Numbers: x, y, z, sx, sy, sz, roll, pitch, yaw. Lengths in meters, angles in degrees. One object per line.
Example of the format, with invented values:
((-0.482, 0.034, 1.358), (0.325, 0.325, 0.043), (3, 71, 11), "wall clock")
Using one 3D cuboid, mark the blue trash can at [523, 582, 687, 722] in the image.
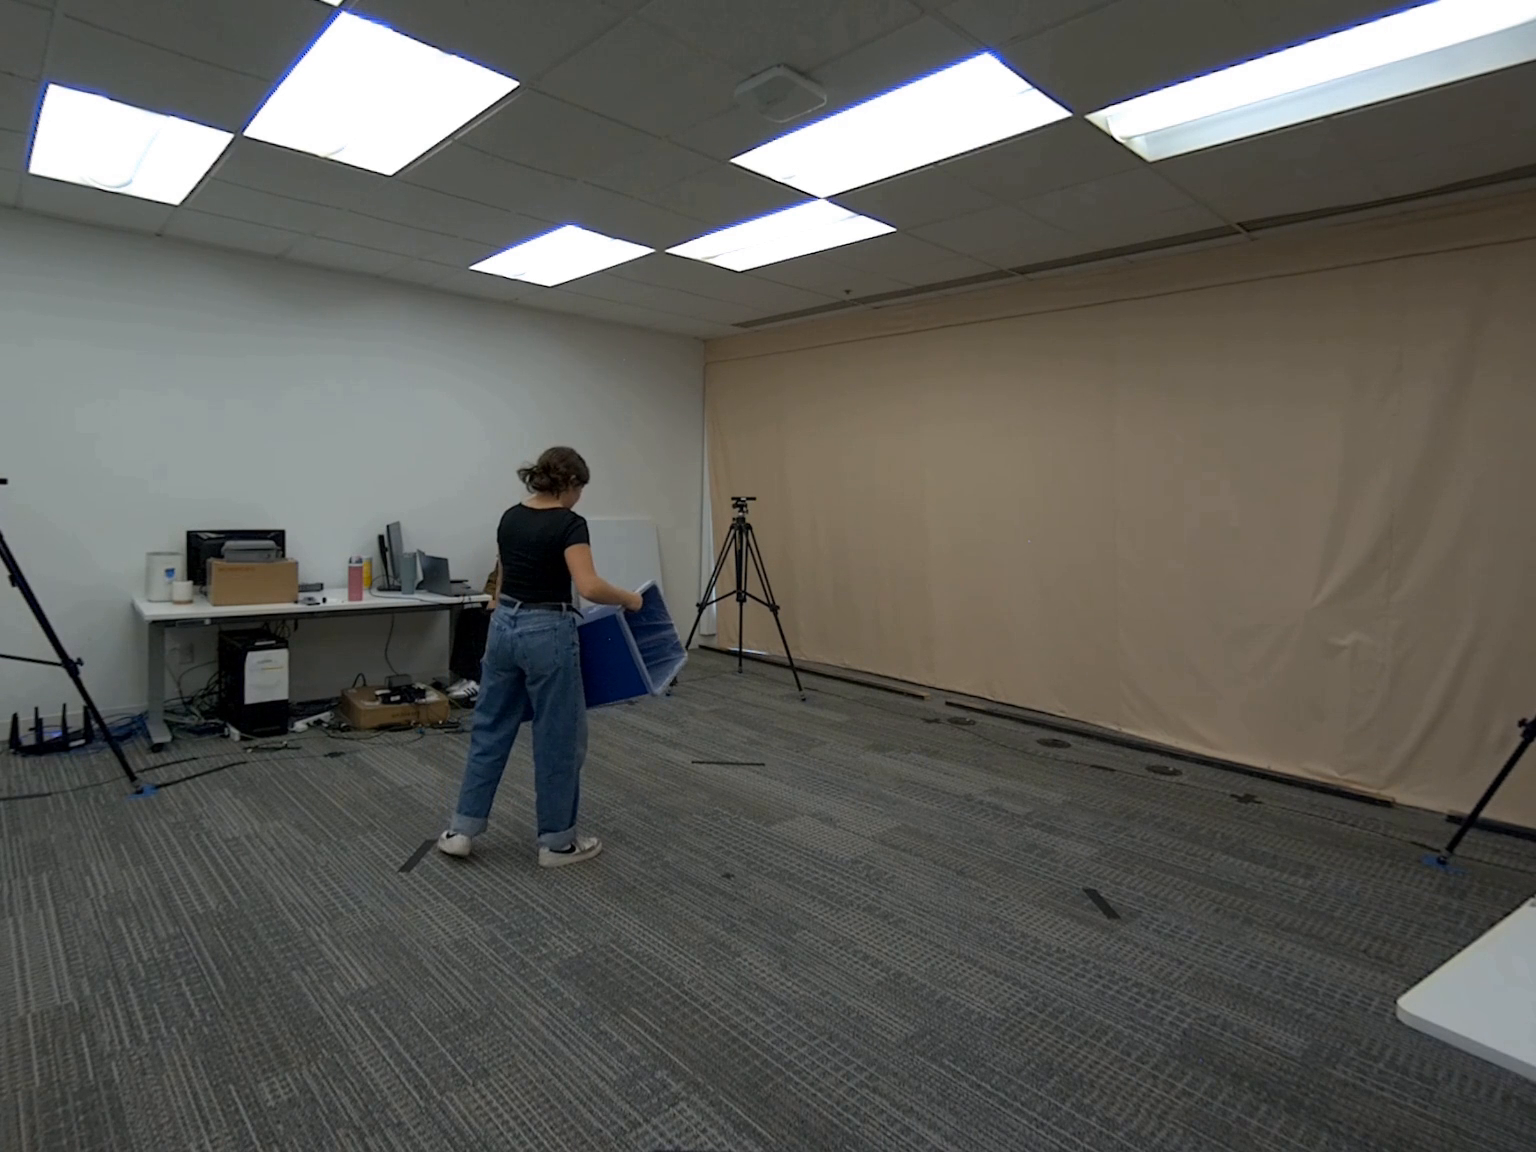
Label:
((-0.752, 0.331, 3.411), (0.721, 0.370, 0.378), (-18, 13, 22), "blue trash can")
